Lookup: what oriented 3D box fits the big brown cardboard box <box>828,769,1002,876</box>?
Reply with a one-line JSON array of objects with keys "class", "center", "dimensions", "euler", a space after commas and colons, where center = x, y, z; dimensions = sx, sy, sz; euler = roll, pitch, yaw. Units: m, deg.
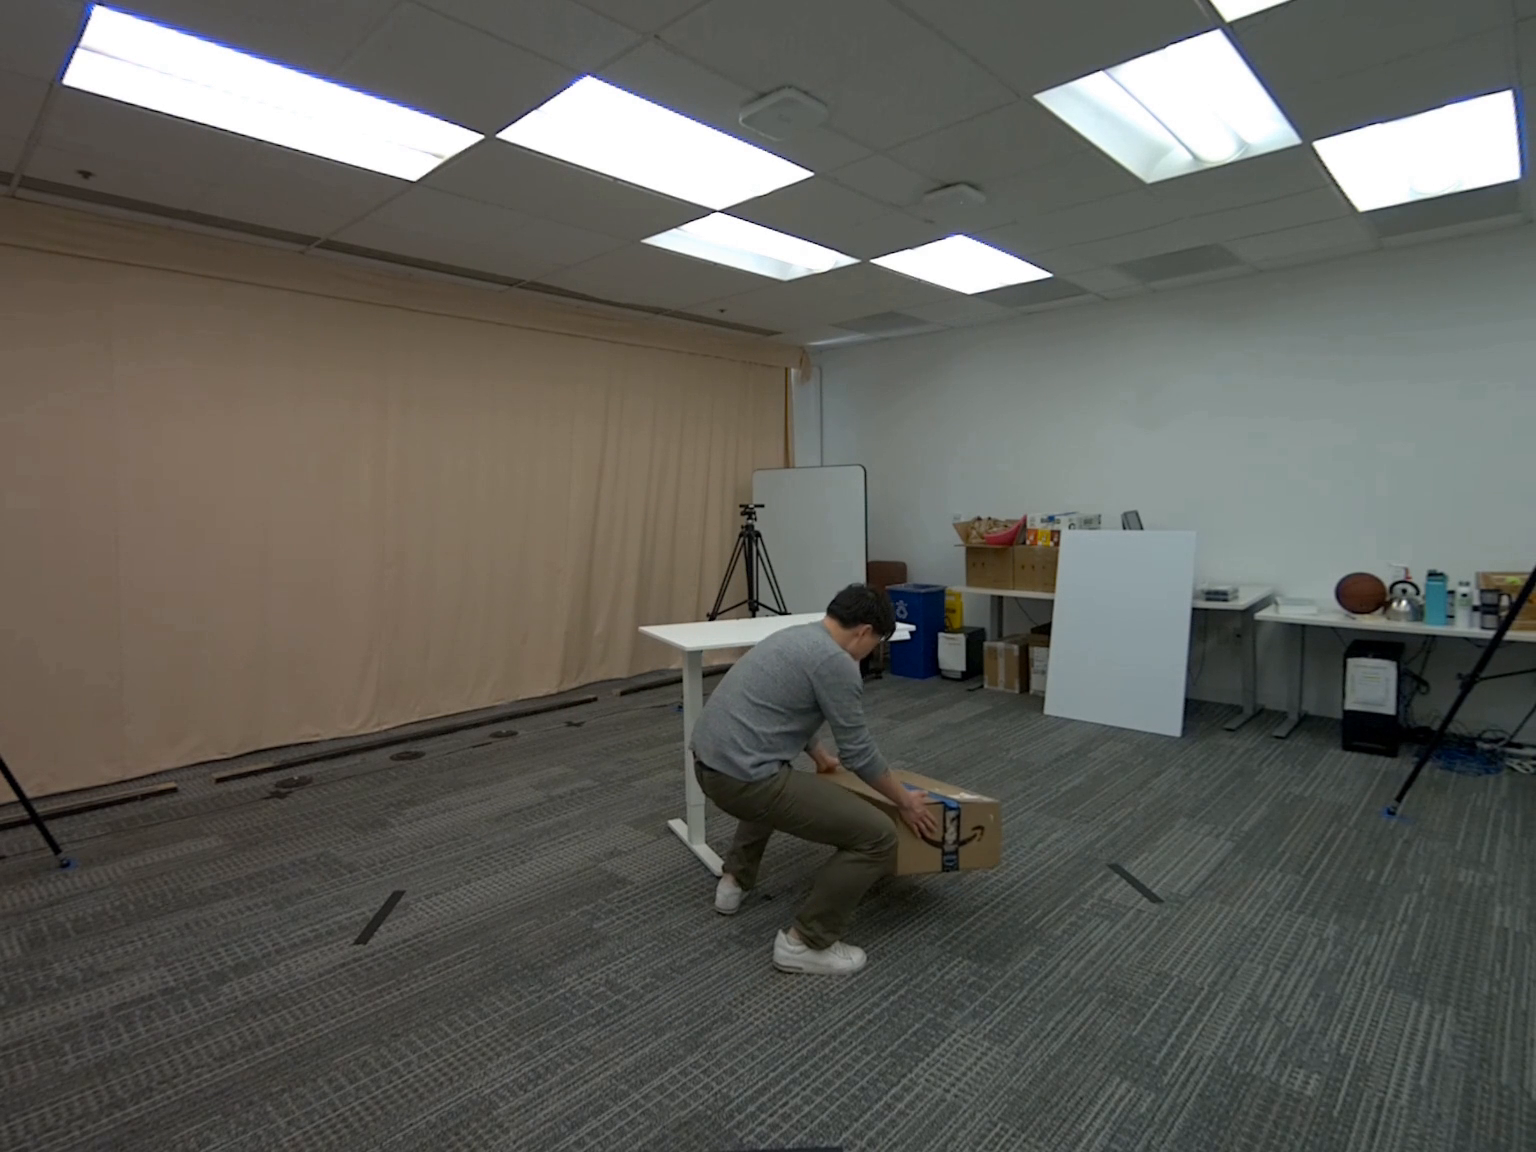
[{"class": "big brown cardboard box", "center": [0.469, 0.845, 2.970], "dimensions": [0.407, 0.234, 0.602], "euler": [4, -3, -26]}]
